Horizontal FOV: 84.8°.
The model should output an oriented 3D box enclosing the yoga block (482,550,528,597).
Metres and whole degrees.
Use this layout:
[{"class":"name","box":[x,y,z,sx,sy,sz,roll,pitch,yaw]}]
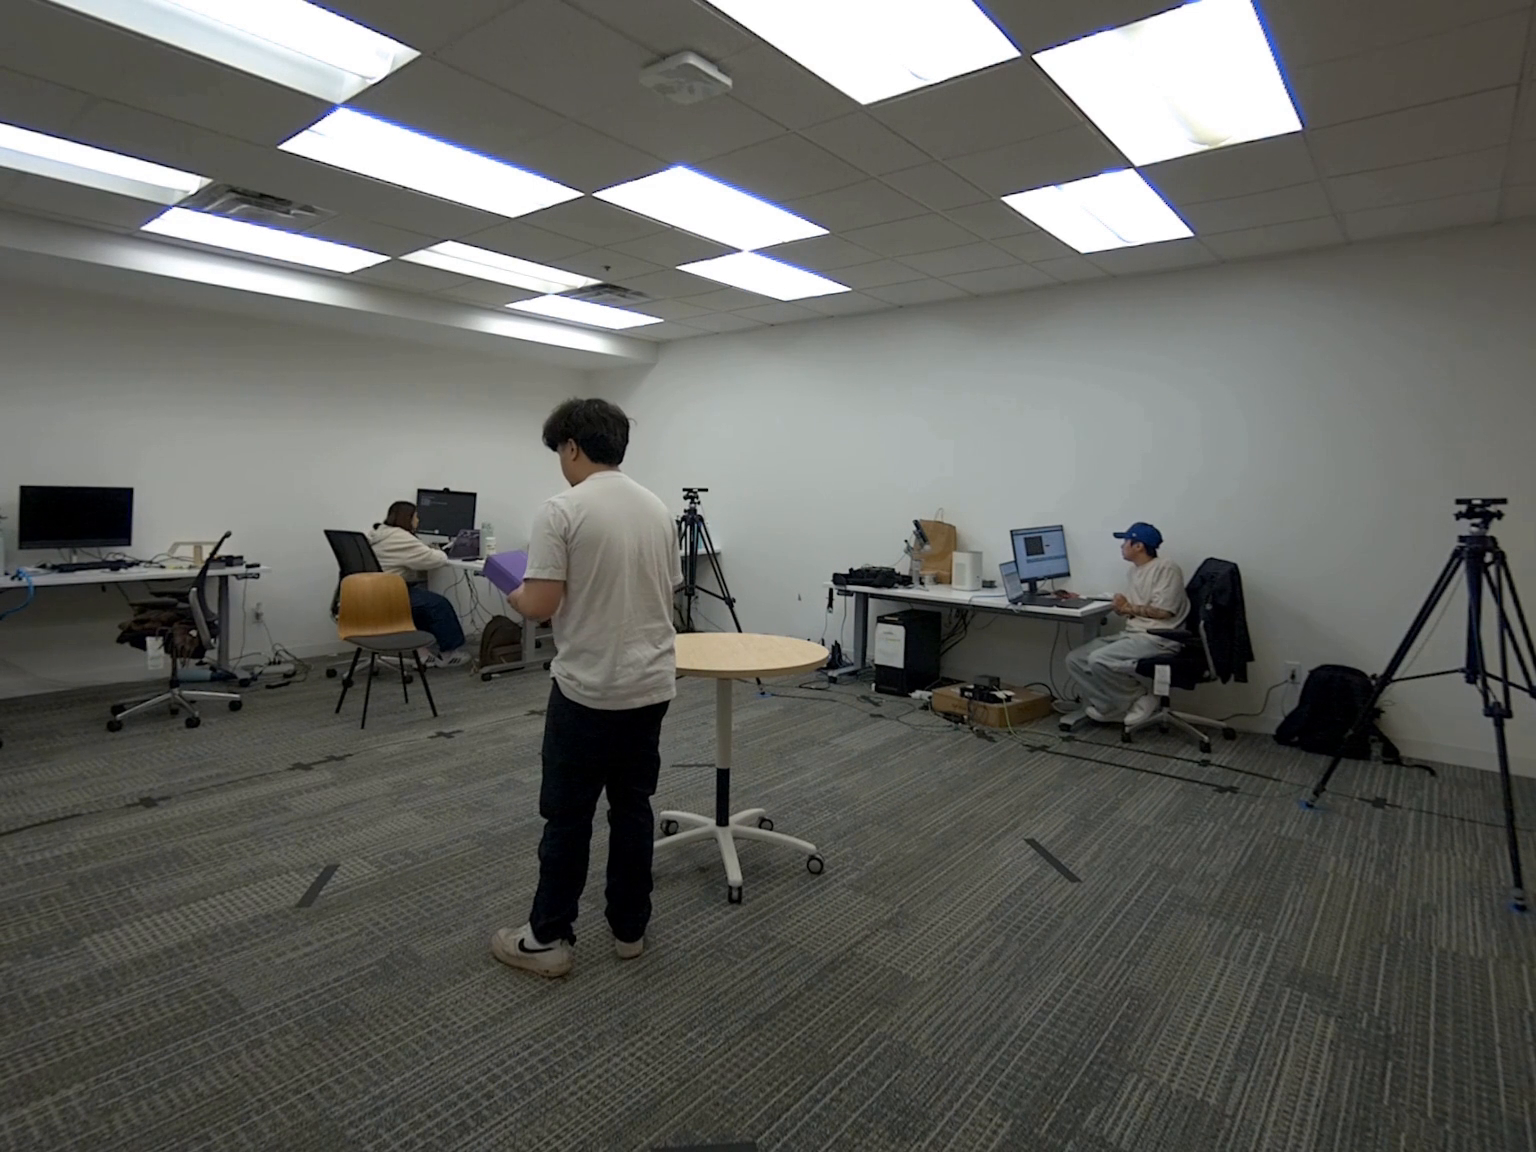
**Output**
[{"class":"yoga block","box":[-0.802,0.004,2.741,0.237,0.075,0.146,34,27,26]}]
